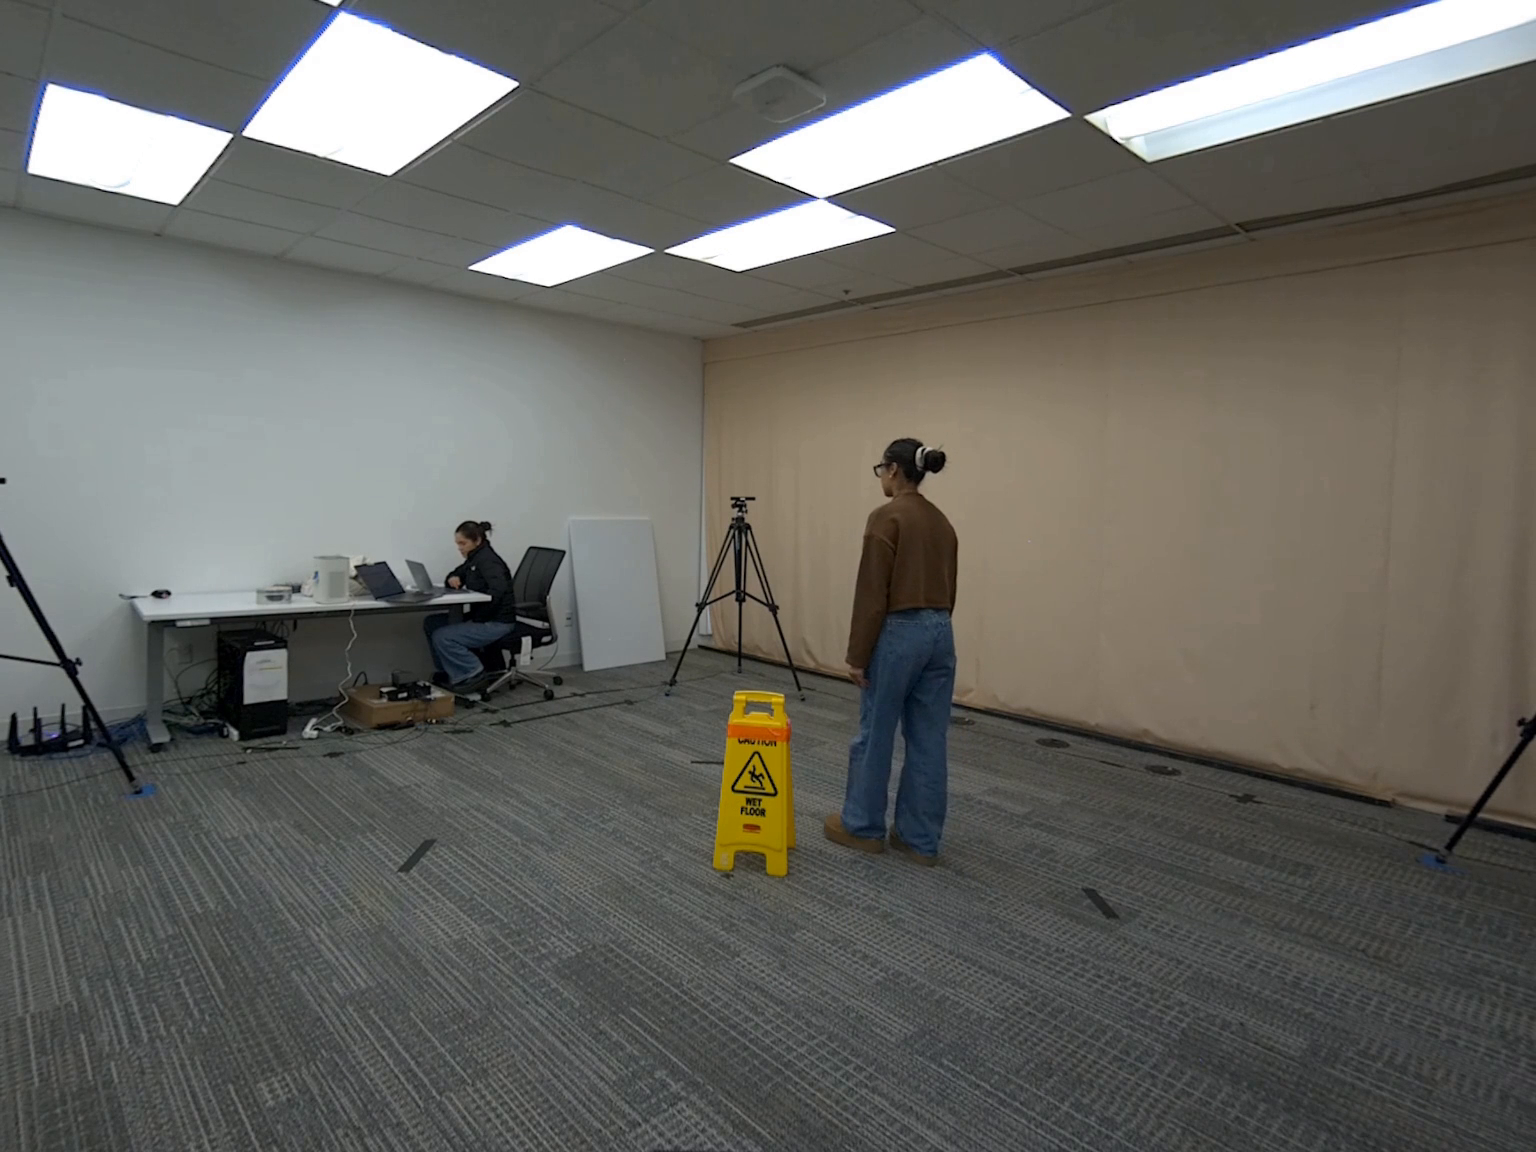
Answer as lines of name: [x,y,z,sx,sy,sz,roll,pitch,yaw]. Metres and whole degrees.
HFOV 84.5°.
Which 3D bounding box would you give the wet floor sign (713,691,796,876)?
wet floor sign: [-0.053,0.776,3.256,0.284,0.645,0.288,2,3,8]
